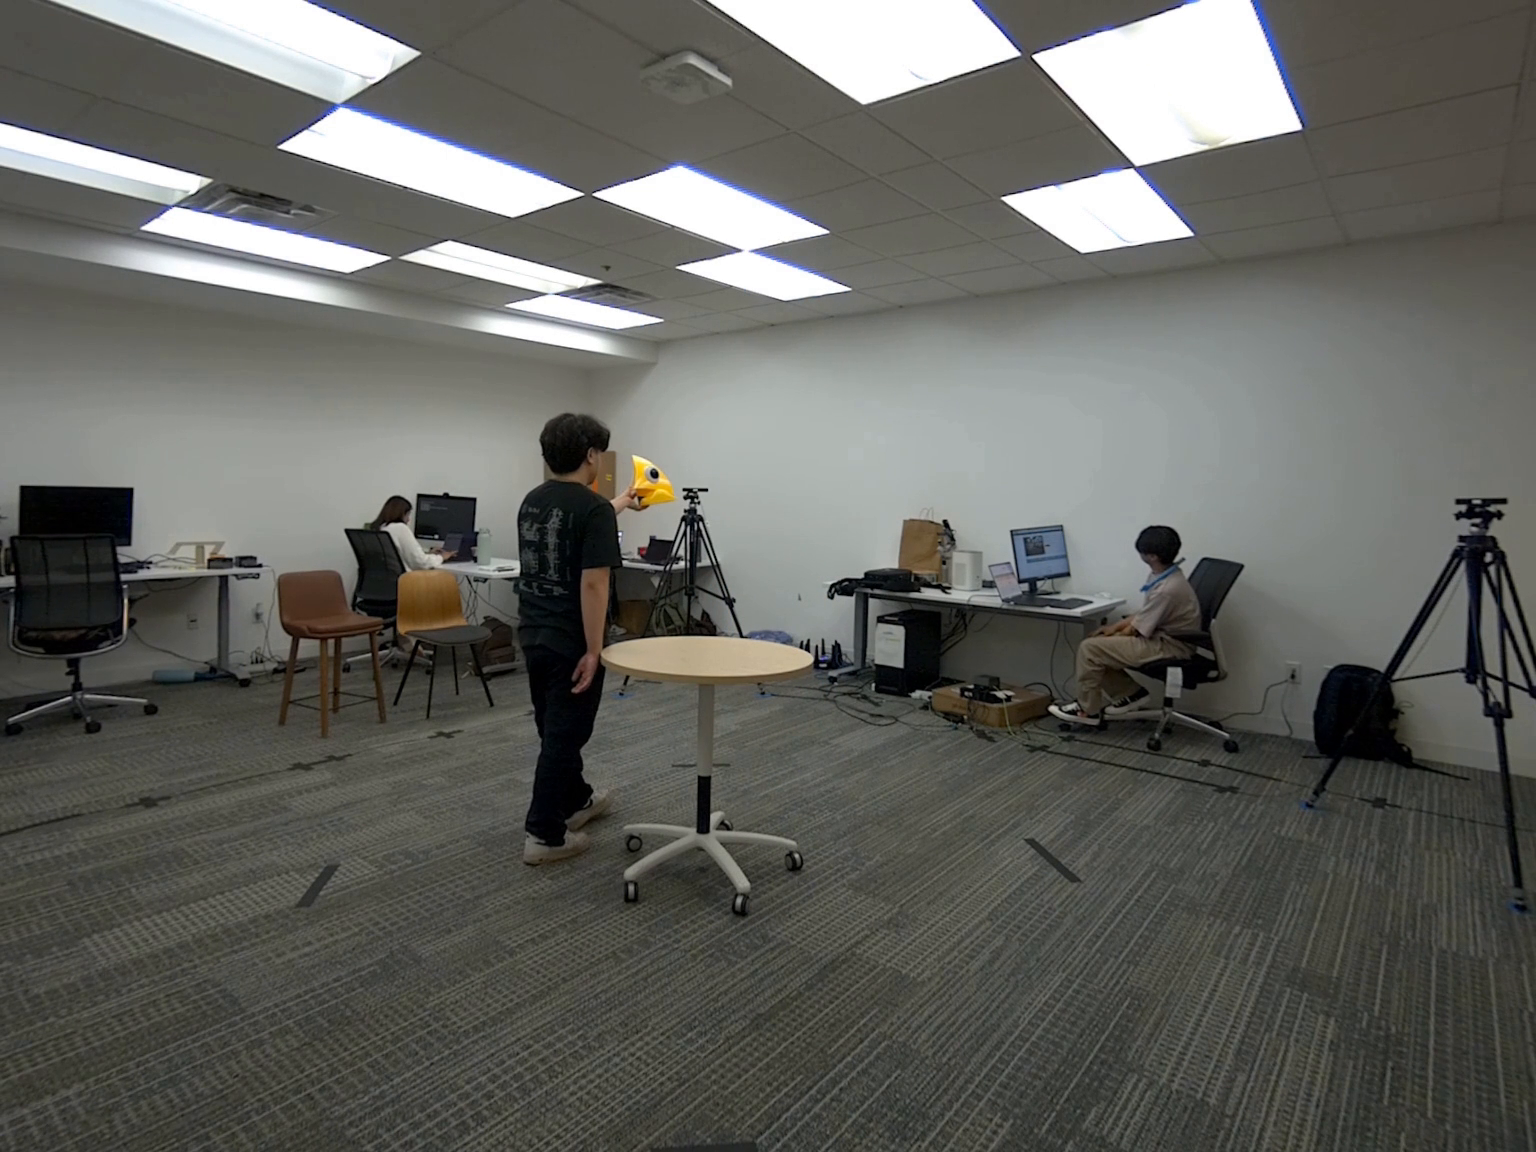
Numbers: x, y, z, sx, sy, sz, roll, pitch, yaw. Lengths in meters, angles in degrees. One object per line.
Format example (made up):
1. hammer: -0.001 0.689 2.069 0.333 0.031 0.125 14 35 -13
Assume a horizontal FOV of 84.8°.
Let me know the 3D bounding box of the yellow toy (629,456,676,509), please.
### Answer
1. yellow toy: -0.544 -0.443 3.800 0.191 0.230 0.208 -12 3 -14
